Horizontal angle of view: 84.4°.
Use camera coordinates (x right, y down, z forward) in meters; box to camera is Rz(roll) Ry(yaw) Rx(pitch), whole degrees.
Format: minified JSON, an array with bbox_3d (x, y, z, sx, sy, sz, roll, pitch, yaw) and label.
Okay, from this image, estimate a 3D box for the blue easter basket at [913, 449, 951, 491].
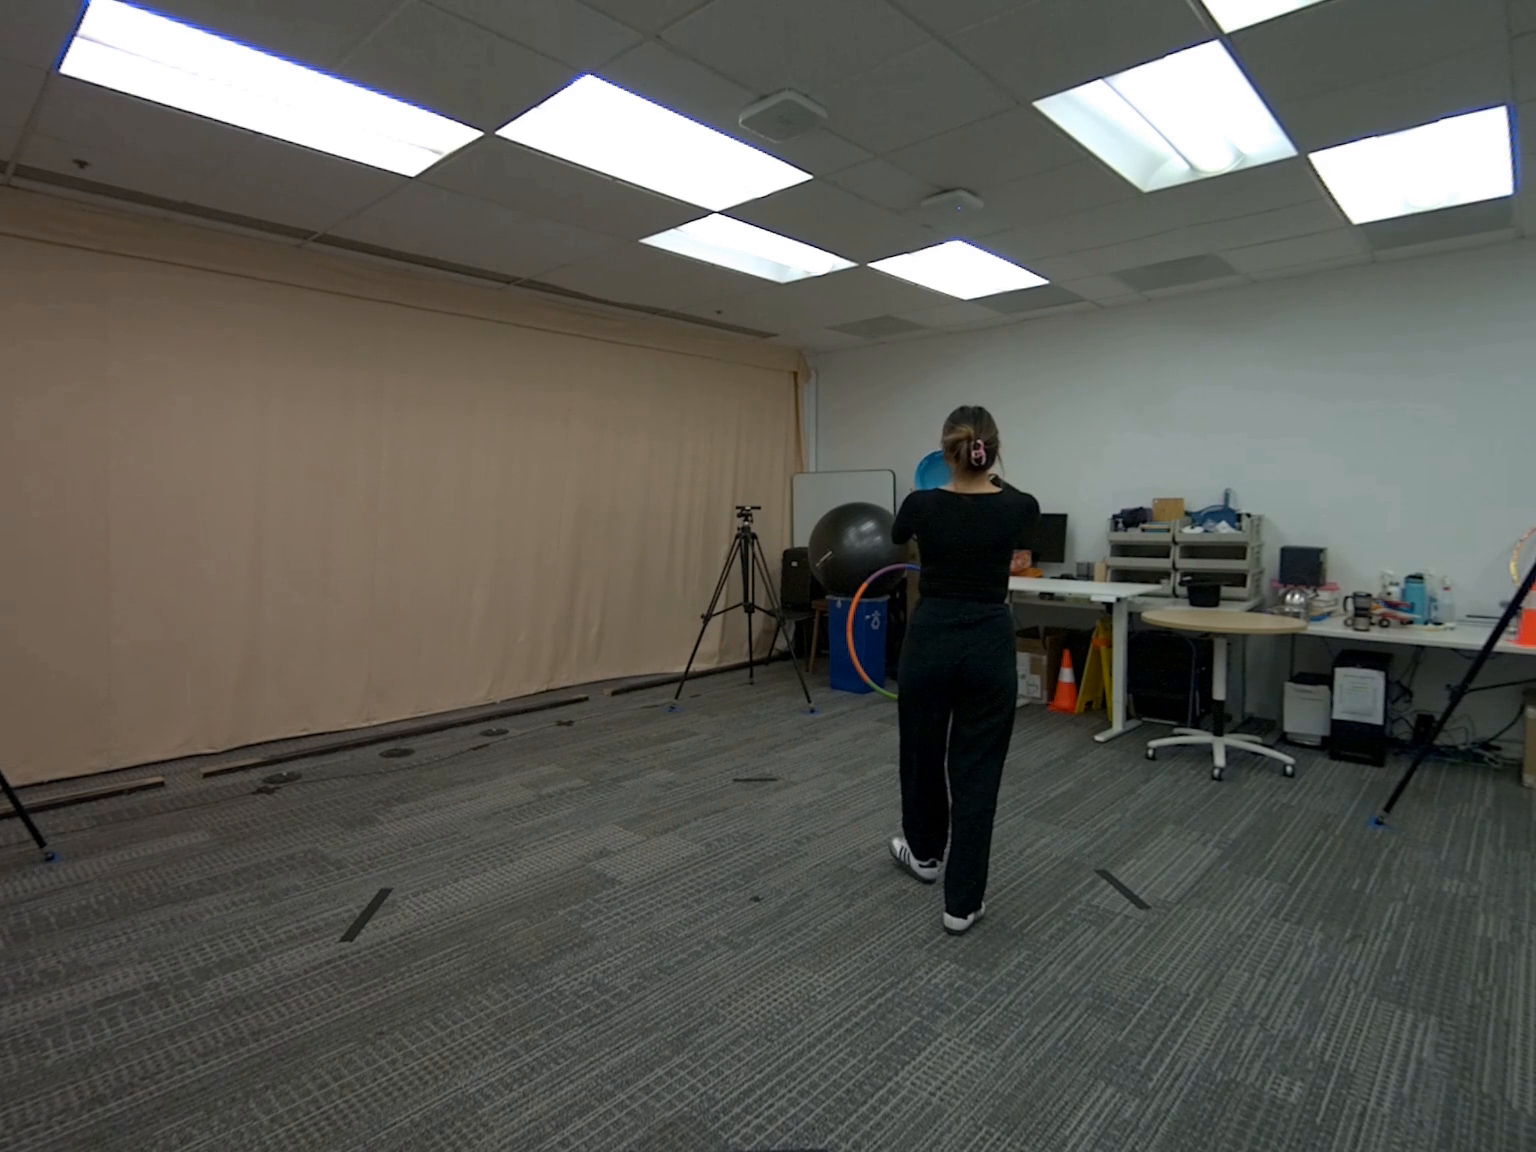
[{"bbox_3d":[0.731,-0.390,3.400,0.248,0.243,0.153,1,1,15],"label":"blue easter basket"}]
